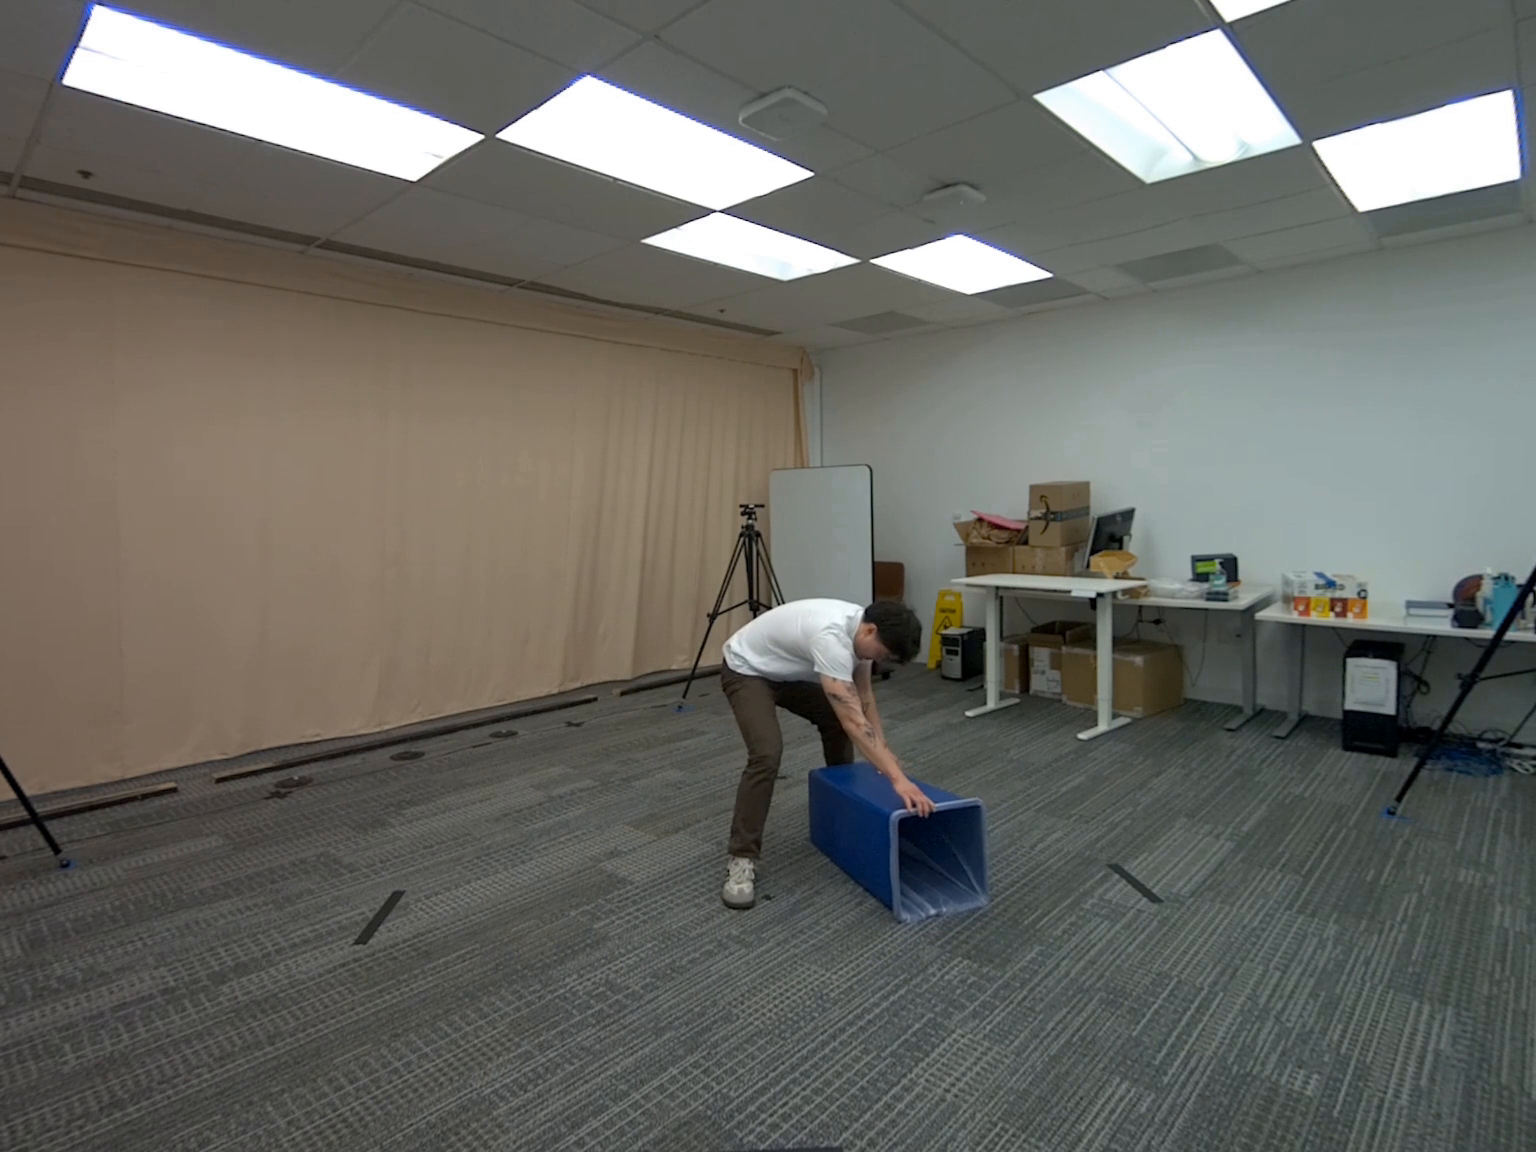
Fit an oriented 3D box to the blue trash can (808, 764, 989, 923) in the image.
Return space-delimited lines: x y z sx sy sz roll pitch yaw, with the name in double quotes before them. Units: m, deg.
"blue trash can" 0.448 0.941 3.179 0.366 0.377 0.730 -4 3 -23
